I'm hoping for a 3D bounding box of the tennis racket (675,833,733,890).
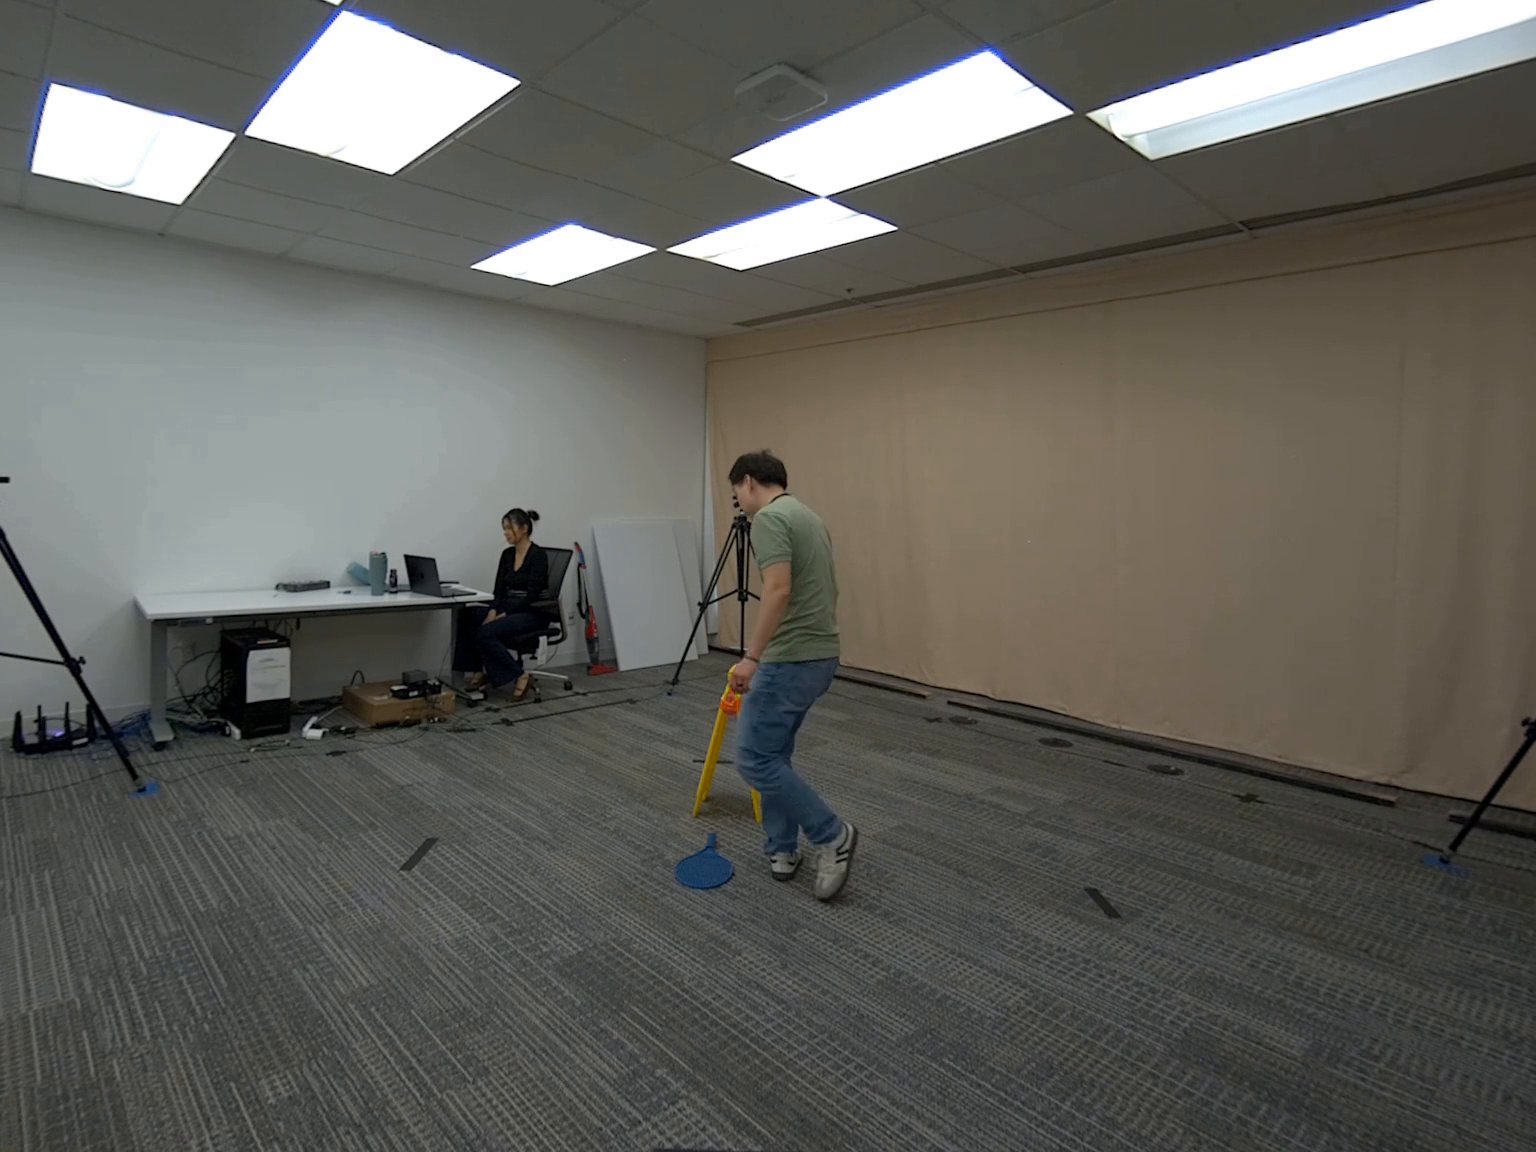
[{"bbox_3d":[-0.234,1.071,3.200,0.214,0.031,0.434,0,7,1],"label":"tennis racket"}]
